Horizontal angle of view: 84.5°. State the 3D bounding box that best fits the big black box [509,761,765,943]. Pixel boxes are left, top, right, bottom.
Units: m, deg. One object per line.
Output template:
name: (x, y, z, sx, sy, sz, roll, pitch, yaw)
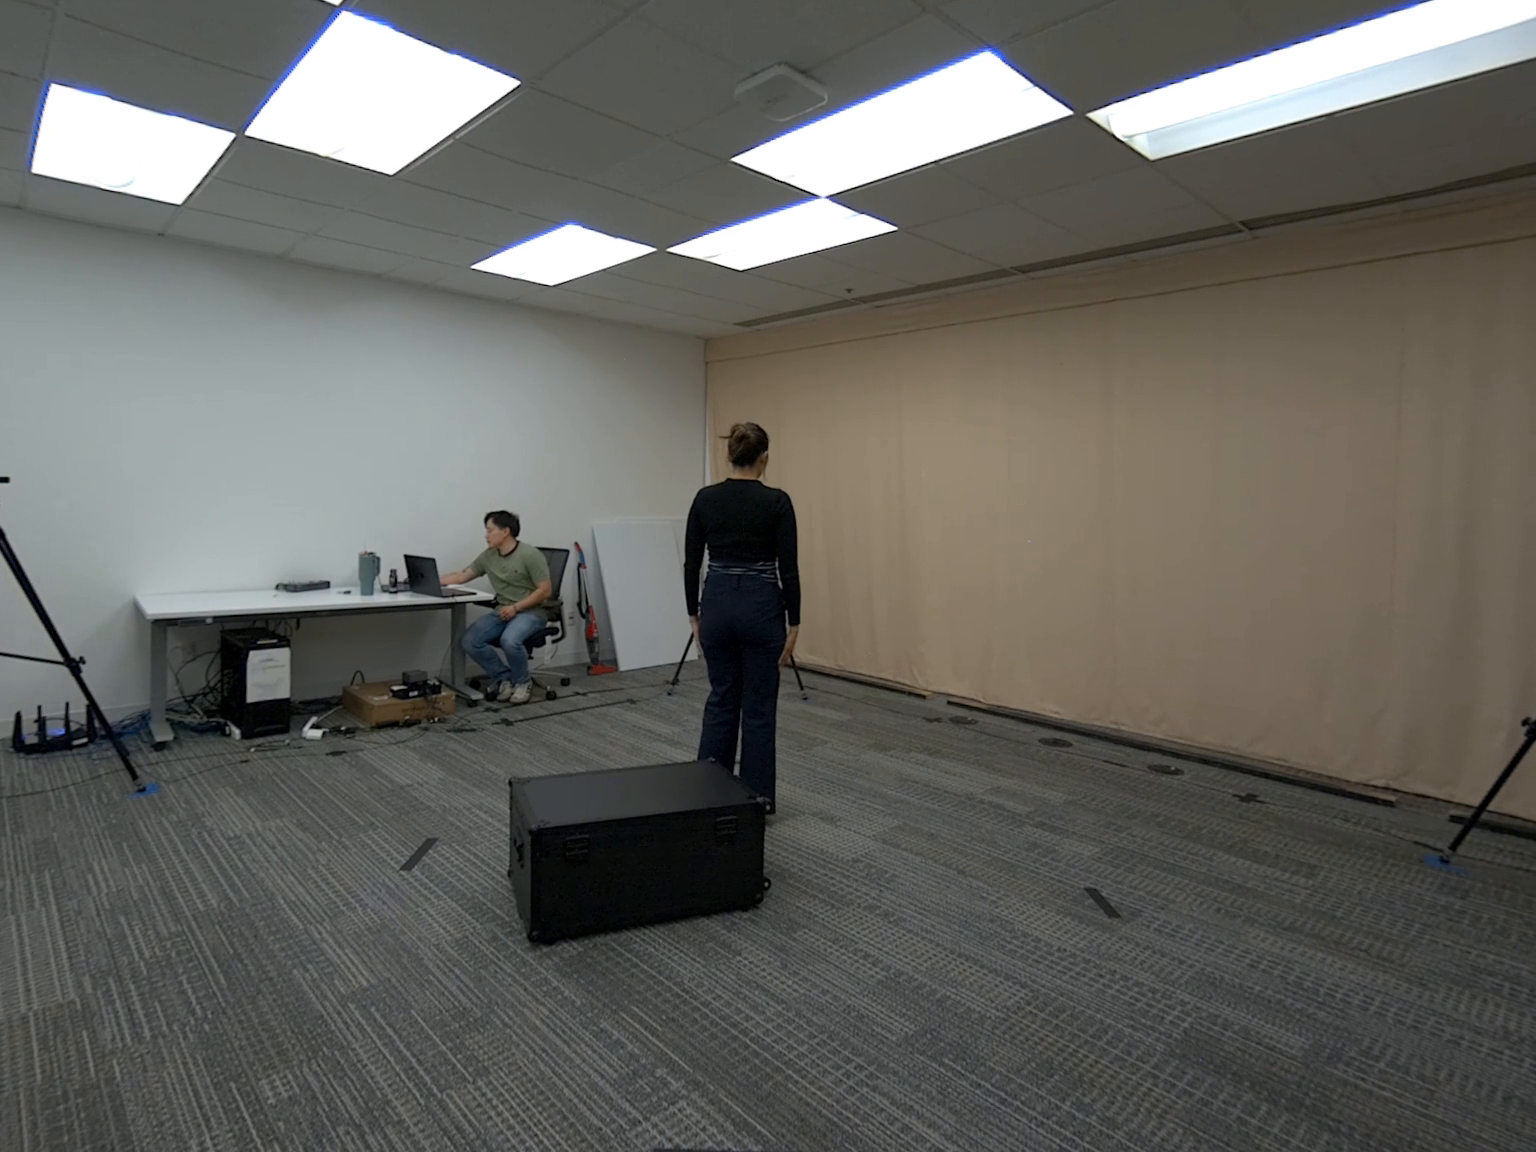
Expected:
big black box: (-0.502, 0.927, 2.897, 0.846, 0.395, 0.531, 0, 4, -24)
